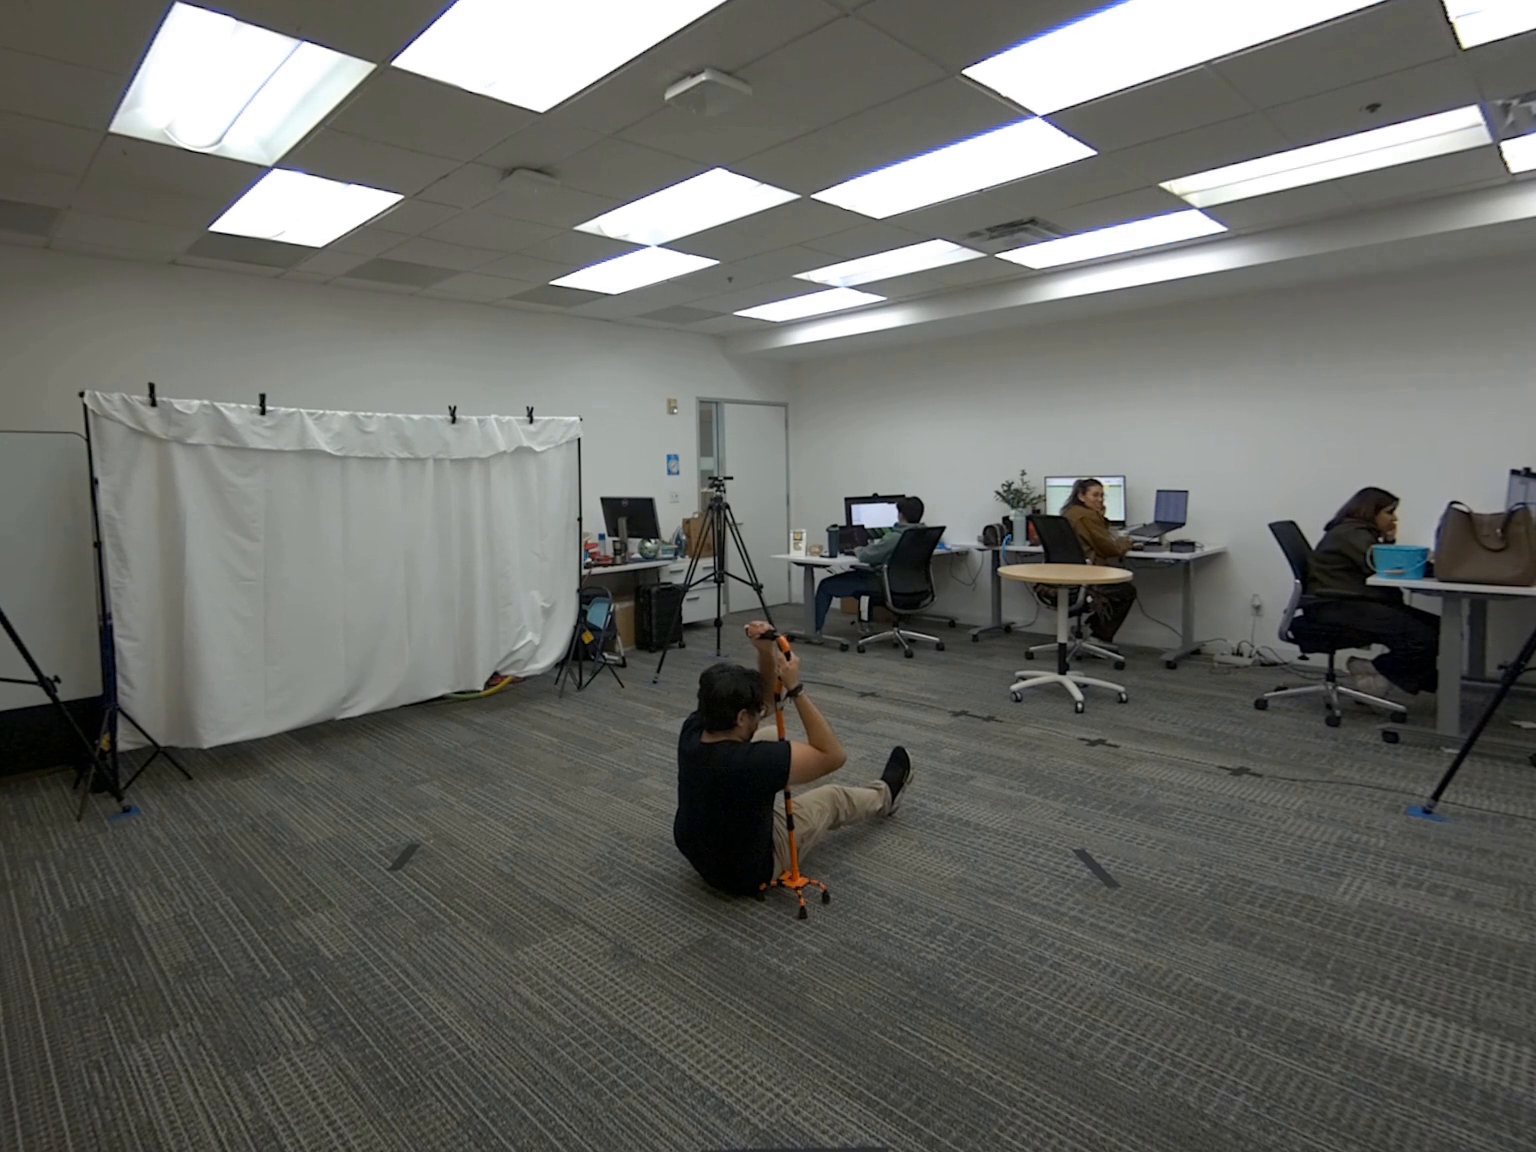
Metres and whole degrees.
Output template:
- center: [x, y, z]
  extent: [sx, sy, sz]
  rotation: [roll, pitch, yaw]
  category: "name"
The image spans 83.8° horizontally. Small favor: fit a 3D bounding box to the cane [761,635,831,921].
- center: [0.055, 0.613, 2.750]
  extent: [0.213, 0.901, 0.148]
  rotation: [3, 10, 40]
  category: "cane"
